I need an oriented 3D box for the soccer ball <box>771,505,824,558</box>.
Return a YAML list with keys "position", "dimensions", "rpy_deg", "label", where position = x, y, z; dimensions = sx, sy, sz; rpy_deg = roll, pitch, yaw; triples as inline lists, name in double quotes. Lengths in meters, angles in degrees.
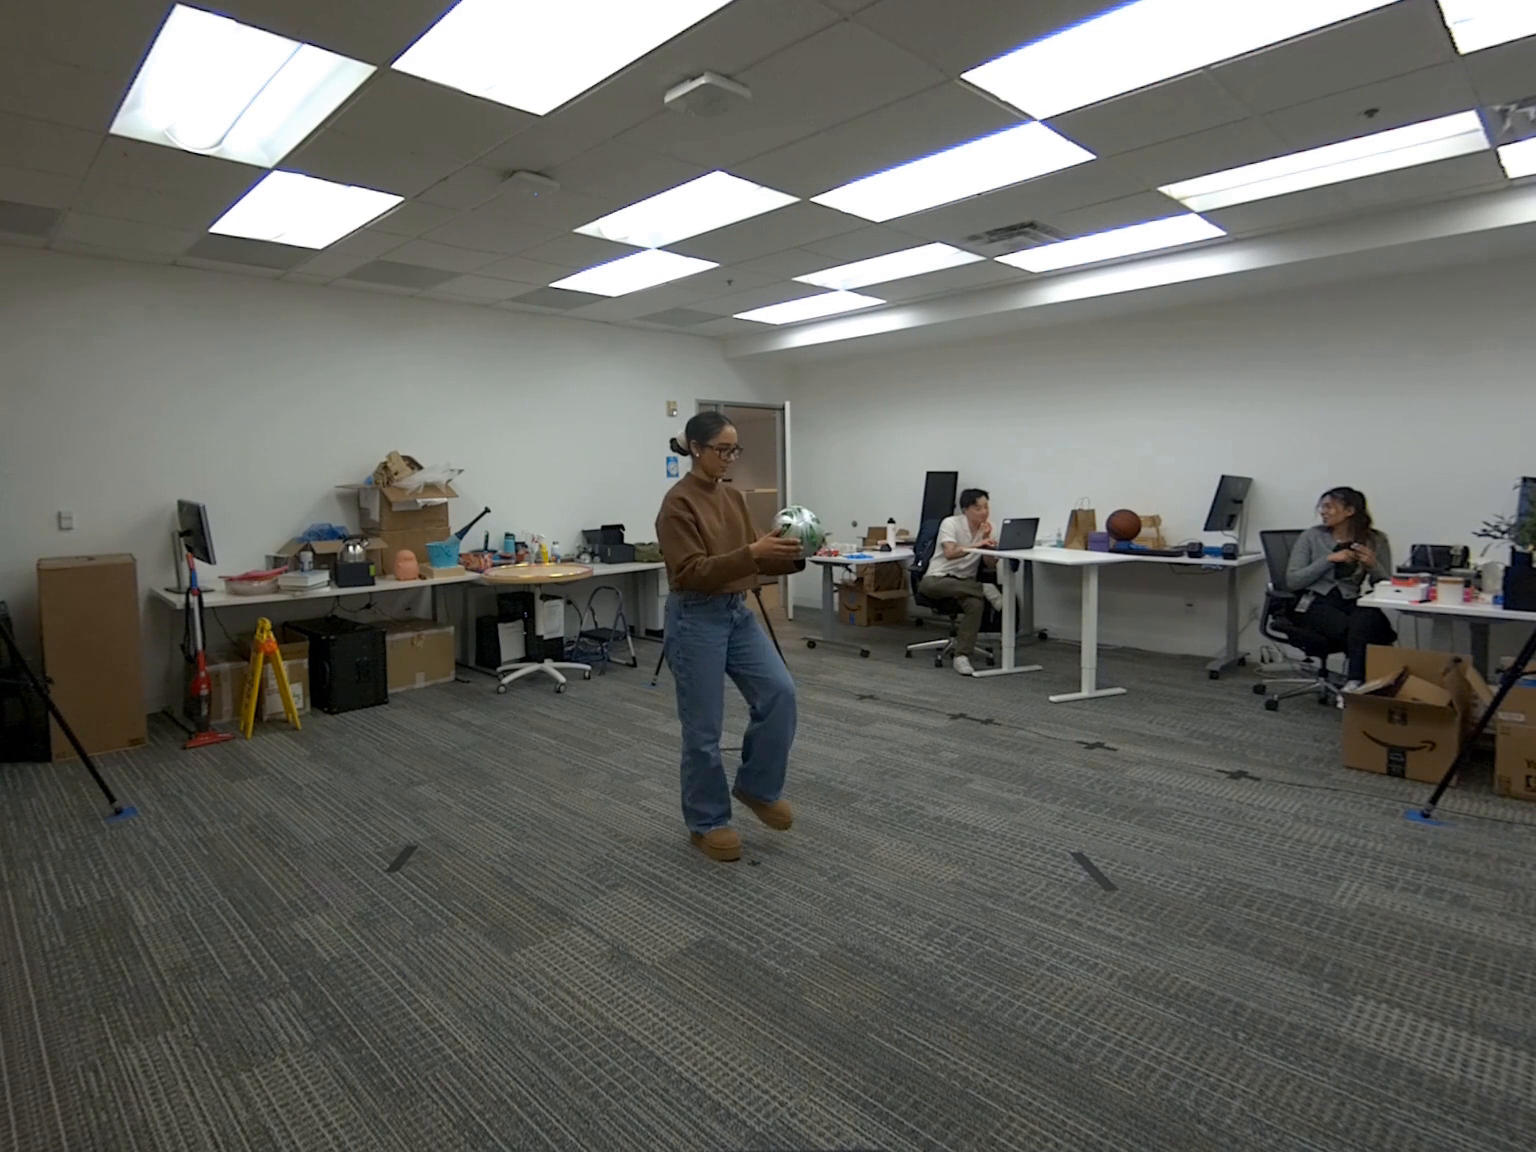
- position: [0.104, -0.147, 3.001]
  dimensions: [0.187, 0.187, 0.188]
  rpy_deg: [-1, 5, -2]
  label: "soccer ball"
